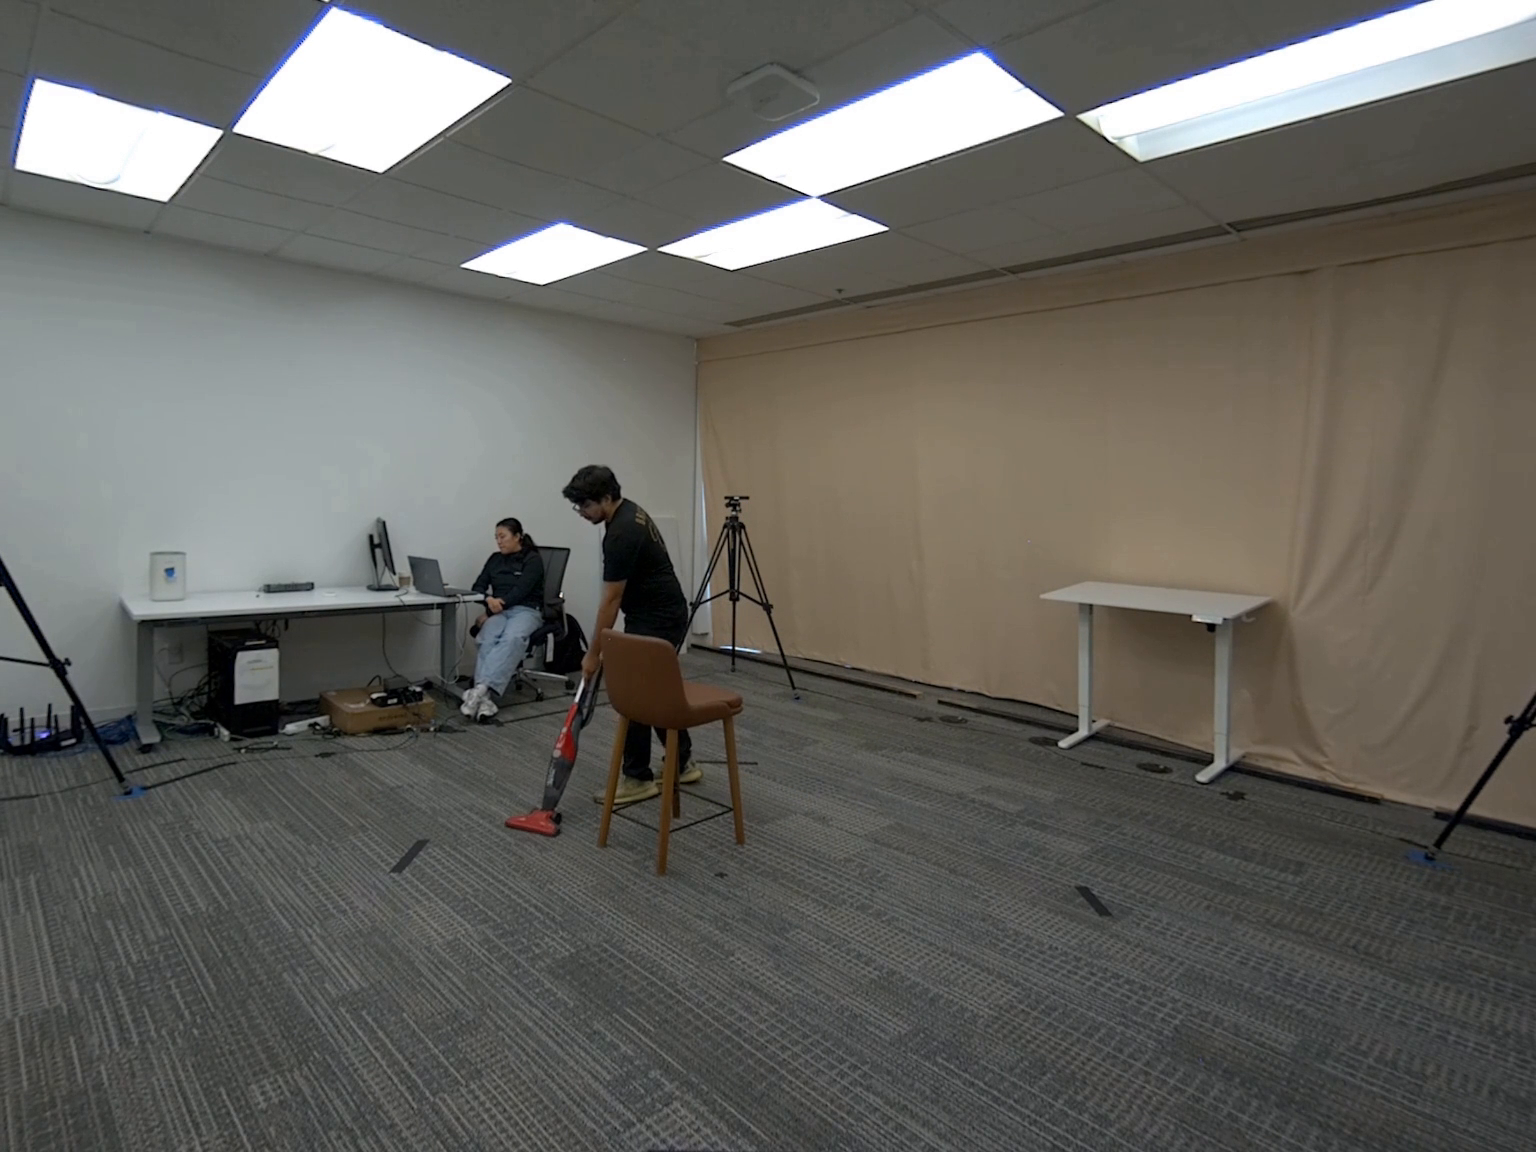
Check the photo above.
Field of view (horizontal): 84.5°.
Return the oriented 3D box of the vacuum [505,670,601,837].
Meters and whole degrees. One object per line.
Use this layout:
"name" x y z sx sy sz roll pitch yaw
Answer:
"vacuum" -0.846 0.581 3.744 0.257 1.062 0.139 2 -29 24
